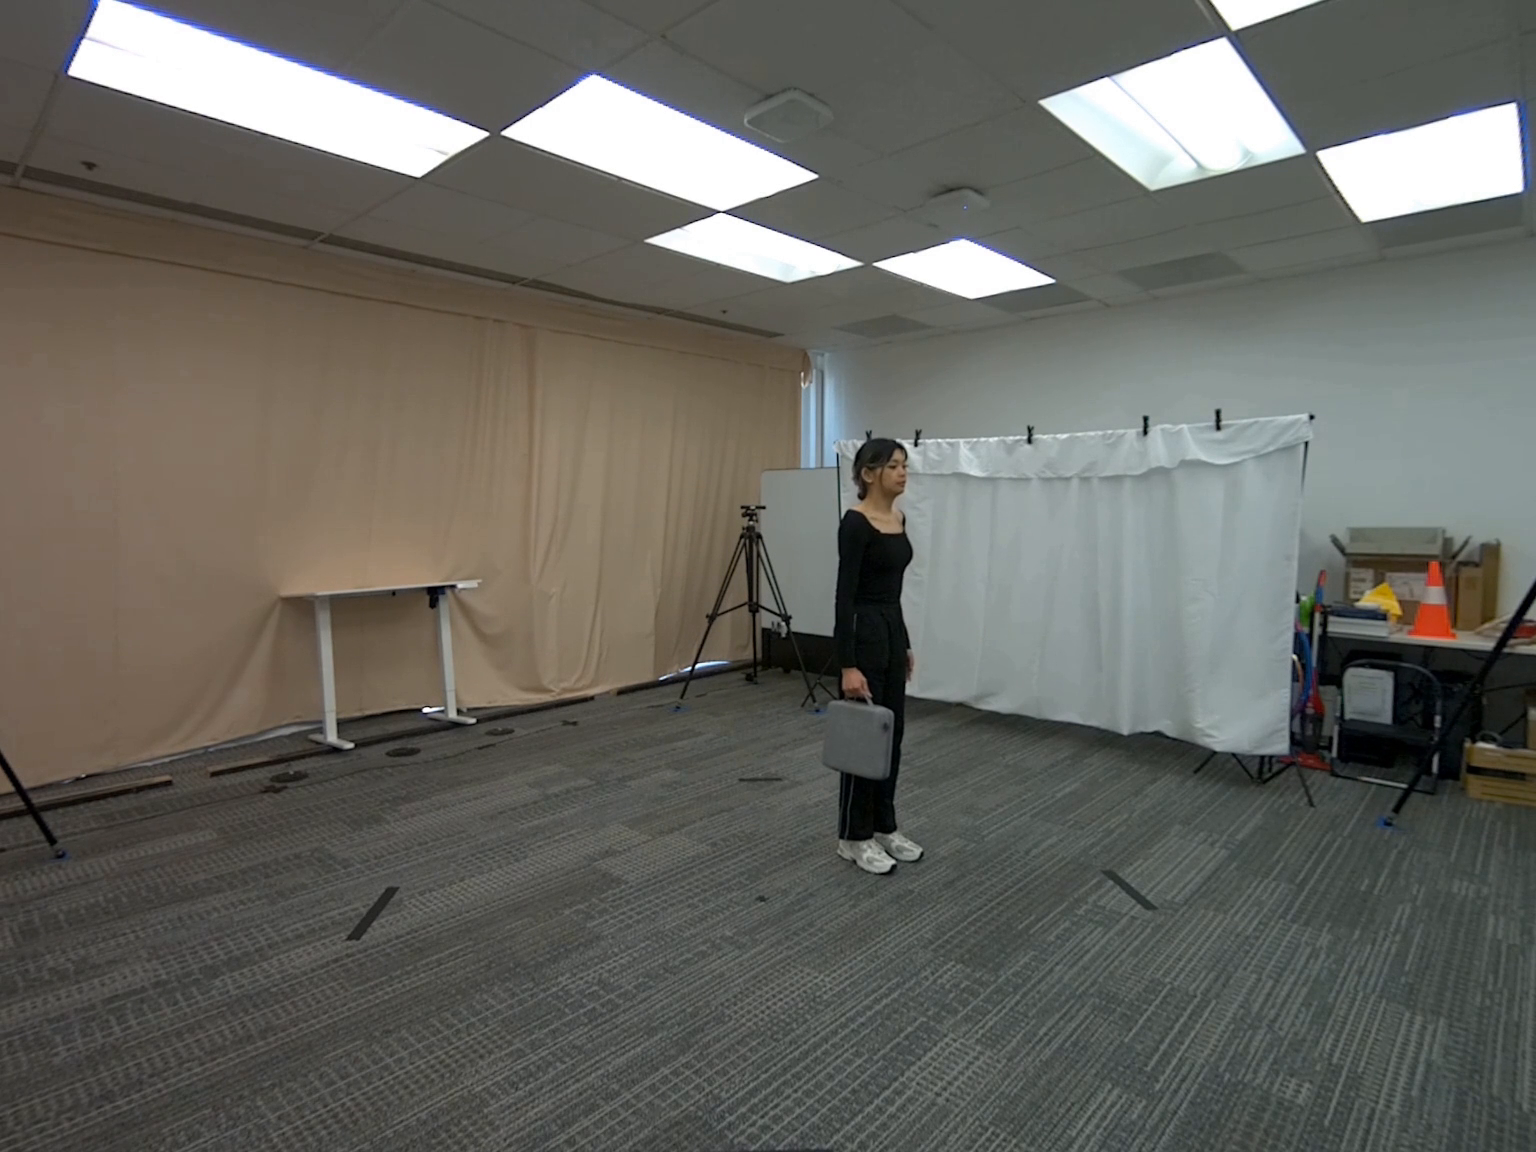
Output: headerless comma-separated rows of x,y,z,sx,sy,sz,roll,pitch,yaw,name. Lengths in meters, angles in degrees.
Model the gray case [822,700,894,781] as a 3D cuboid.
0.332,0.587,3.066,0.101,0.261,0.265,7,-4,-42,gray case
